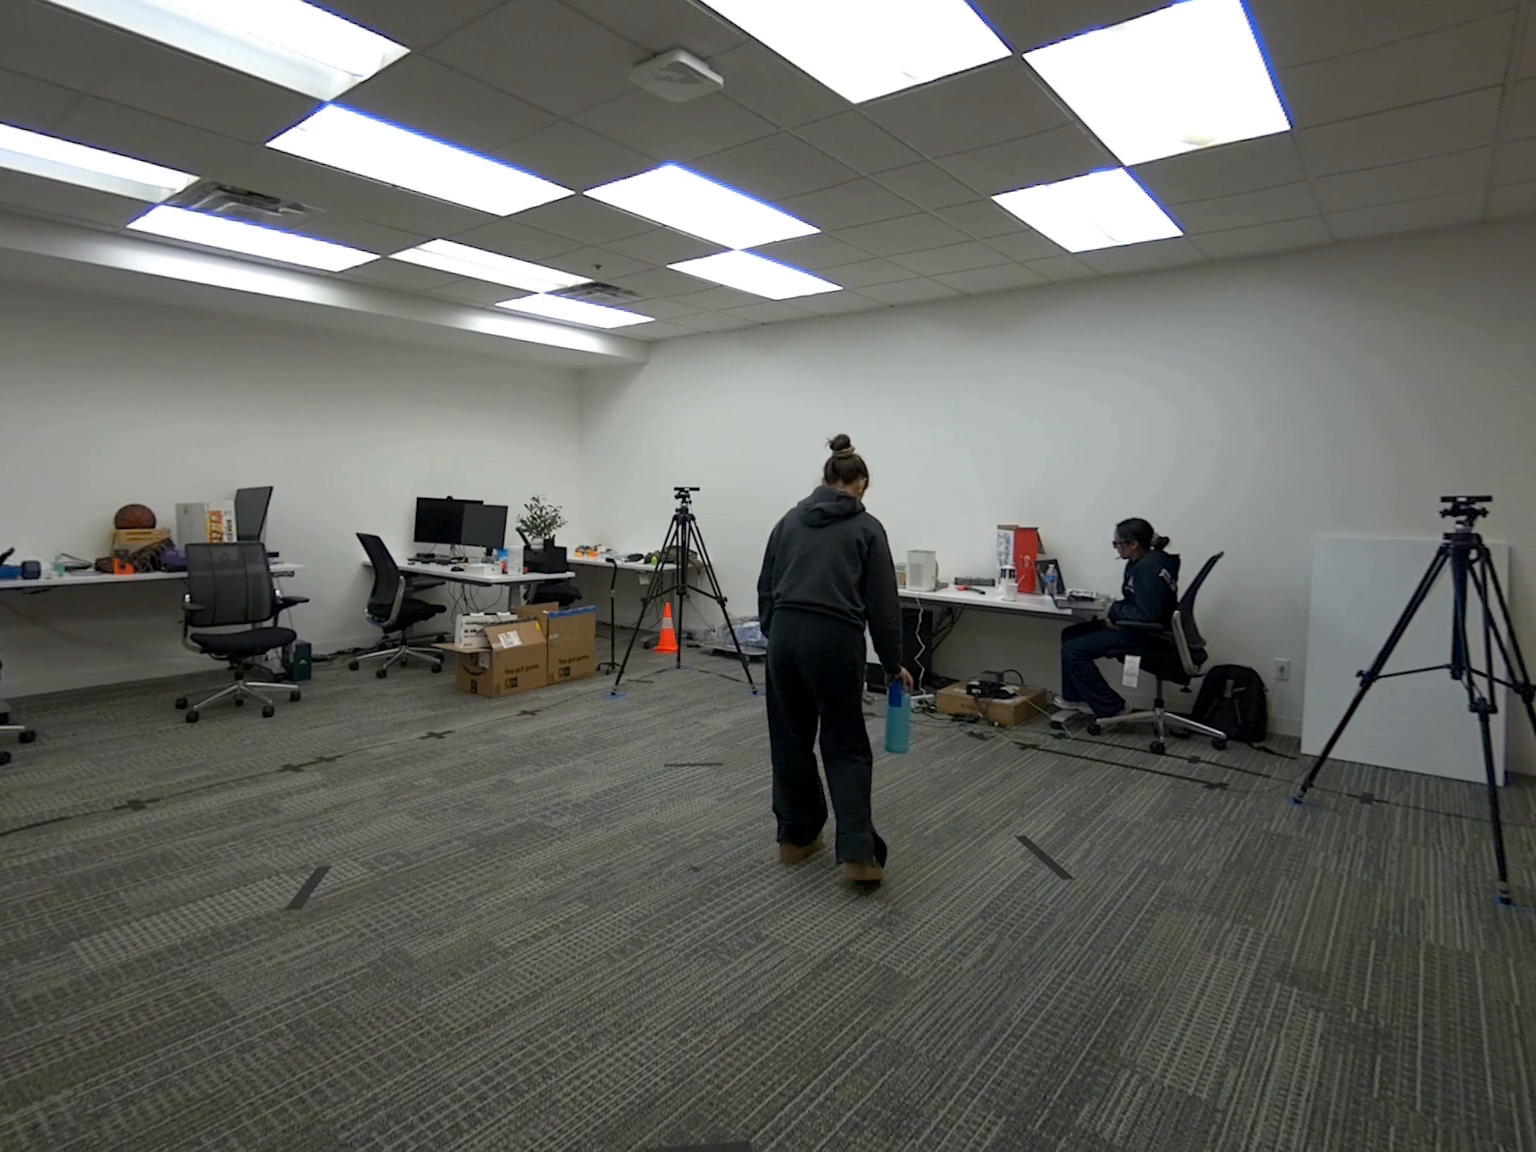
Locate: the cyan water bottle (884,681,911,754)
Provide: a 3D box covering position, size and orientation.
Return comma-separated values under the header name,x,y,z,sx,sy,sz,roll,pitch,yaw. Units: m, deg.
name,x,y,z,sx,sy,sz,roll,pitch,yaw
cyan water bottle,0.490,0.520,3.187,0.092,0.282,0.093,1,4,-2
